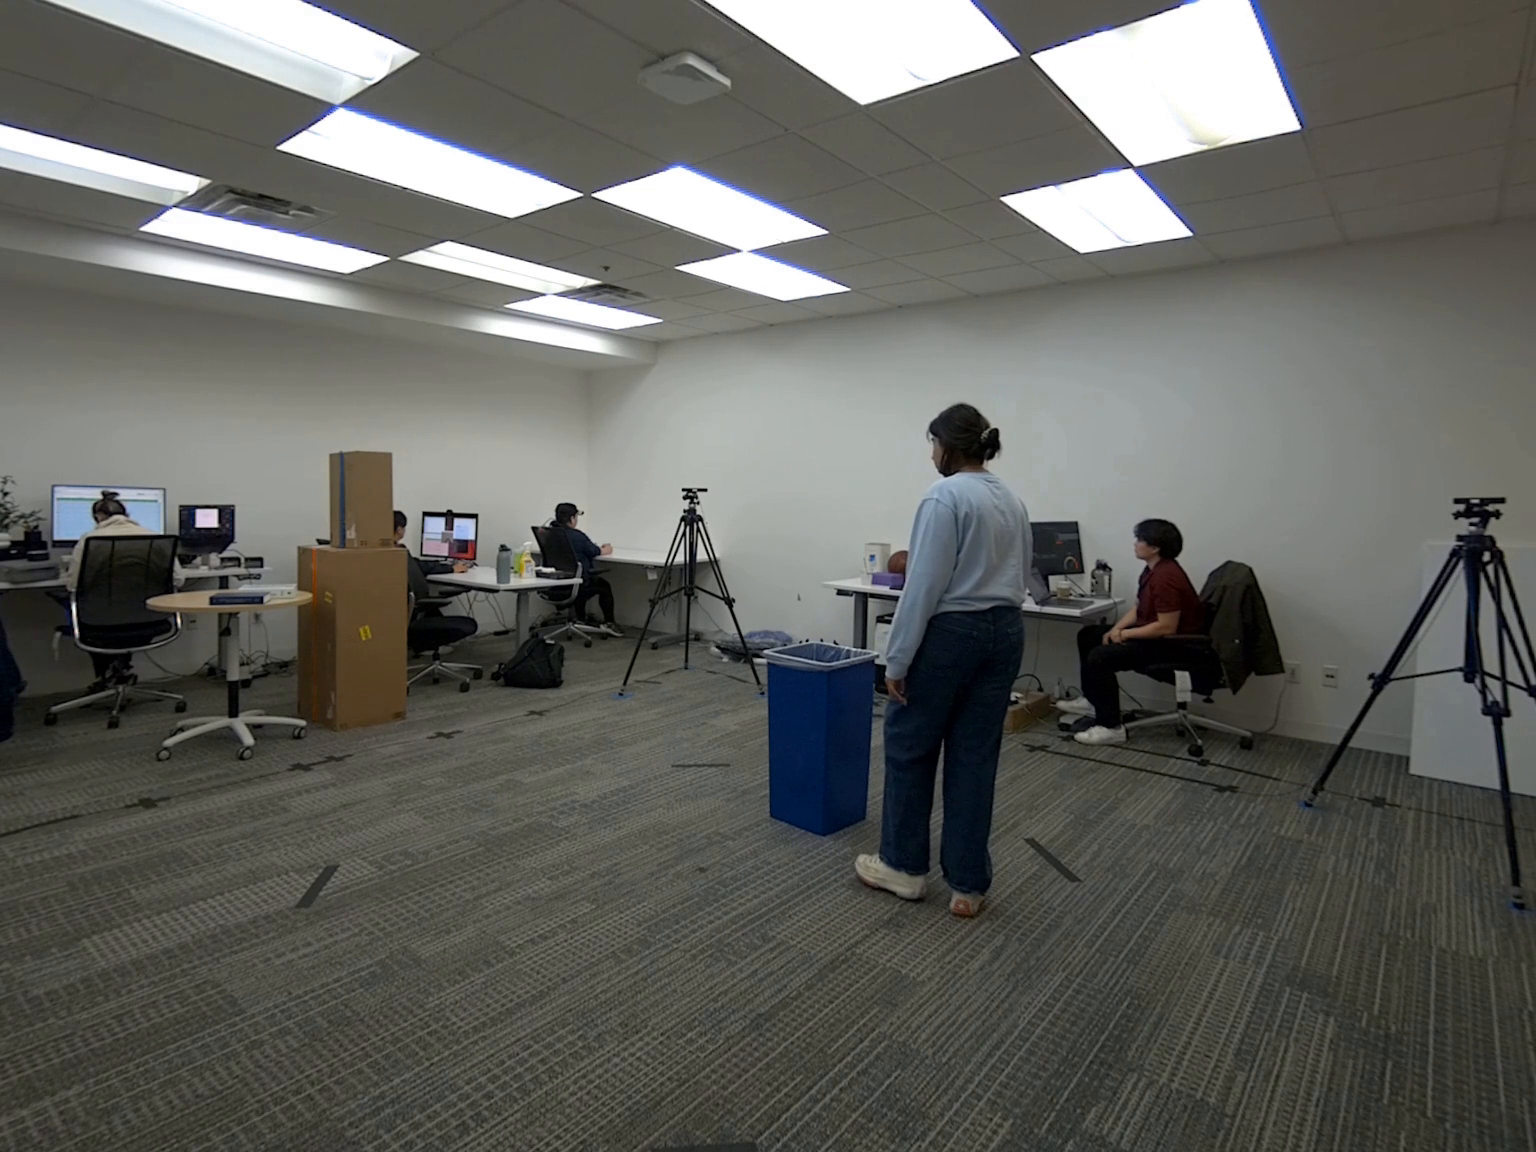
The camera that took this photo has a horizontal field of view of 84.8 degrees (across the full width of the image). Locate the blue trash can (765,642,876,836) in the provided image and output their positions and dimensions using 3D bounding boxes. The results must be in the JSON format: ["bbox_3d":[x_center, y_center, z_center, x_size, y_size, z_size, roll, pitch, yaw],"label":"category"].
[{"bbox_3d":[0.201,0.672,3.618,0.387,0.711,0.367,5,5,43],"label":"blue trash can"}]
